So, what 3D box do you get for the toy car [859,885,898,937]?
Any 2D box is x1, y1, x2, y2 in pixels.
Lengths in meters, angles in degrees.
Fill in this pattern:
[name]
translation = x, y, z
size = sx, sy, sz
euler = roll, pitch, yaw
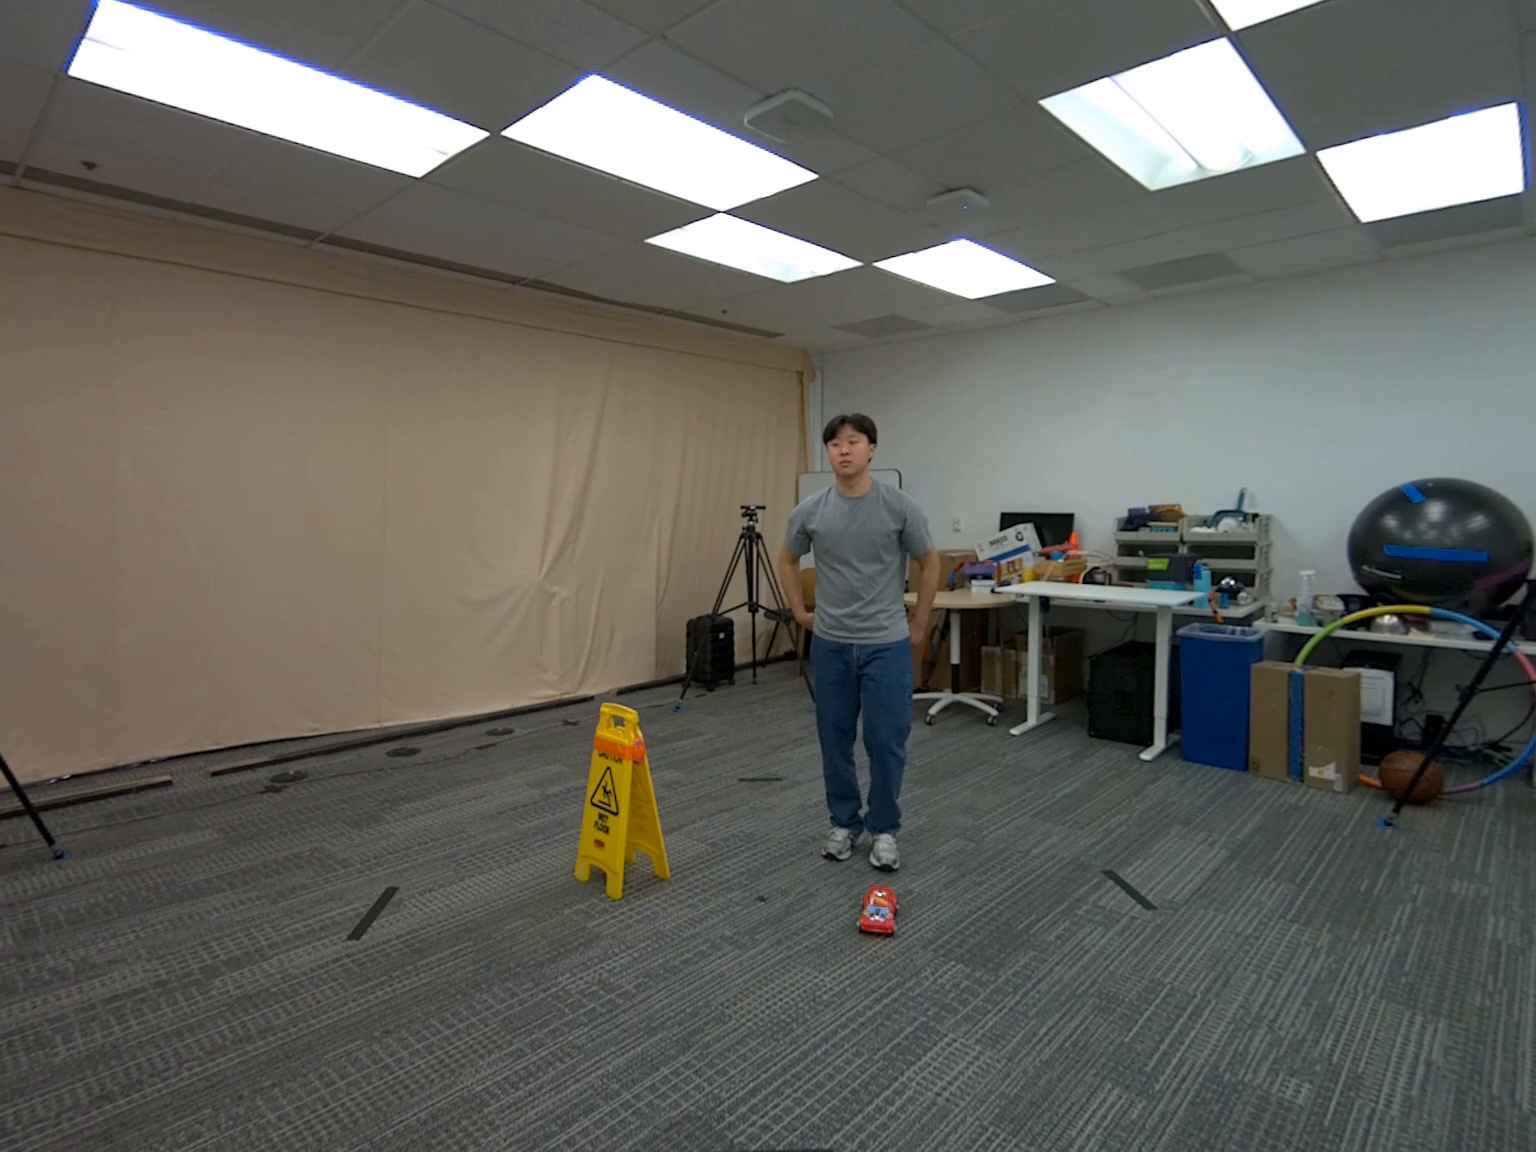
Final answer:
[toy car]
translation = 0.372, 1.115, 2.830
size = 0.132, 0.082, 0.254
euler = 1, 17, 10
